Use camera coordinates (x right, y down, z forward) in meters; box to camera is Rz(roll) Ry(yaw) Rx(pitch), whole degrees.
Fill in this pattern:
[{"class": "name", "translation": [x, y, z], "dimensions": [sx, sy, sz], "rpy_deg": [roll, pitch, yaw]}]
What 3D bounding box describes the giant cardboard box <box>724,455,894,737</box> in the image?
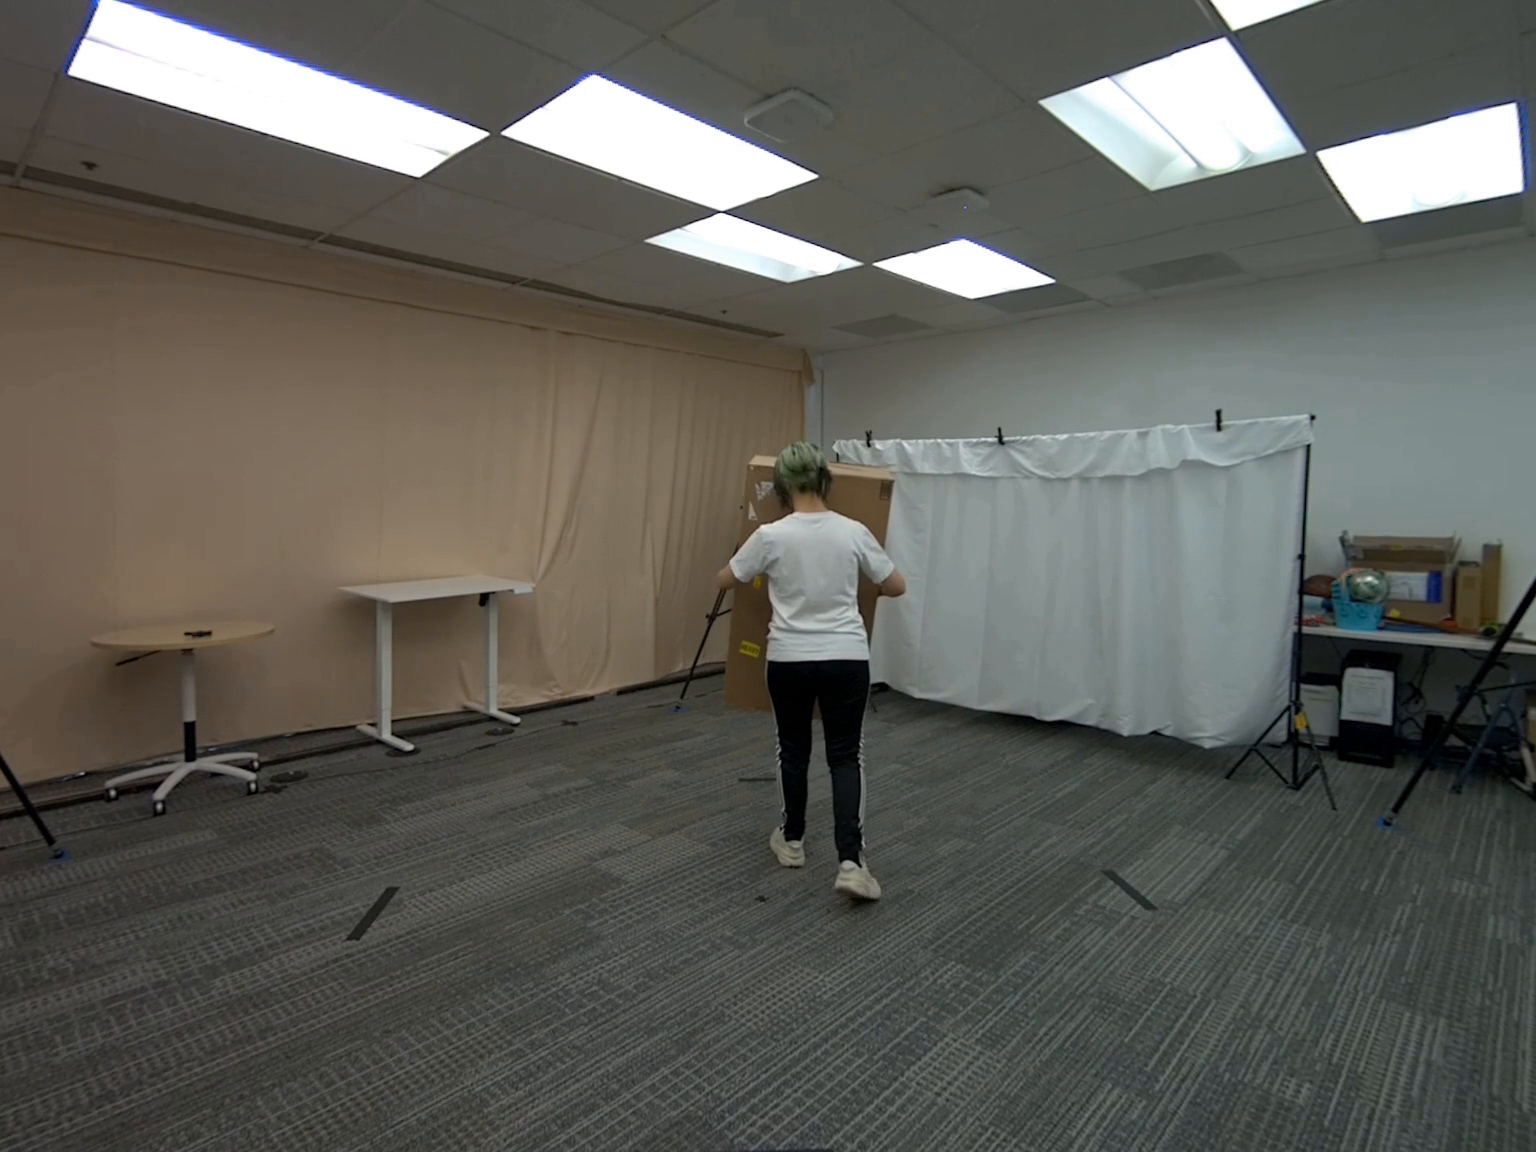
[{"class": "giant cardboard box", "translation": [0.164, 0.041, 3.587], "dimensions": [0.587, 1.021, 0.447], "rpy_deg": [7, 11, 4]}]
